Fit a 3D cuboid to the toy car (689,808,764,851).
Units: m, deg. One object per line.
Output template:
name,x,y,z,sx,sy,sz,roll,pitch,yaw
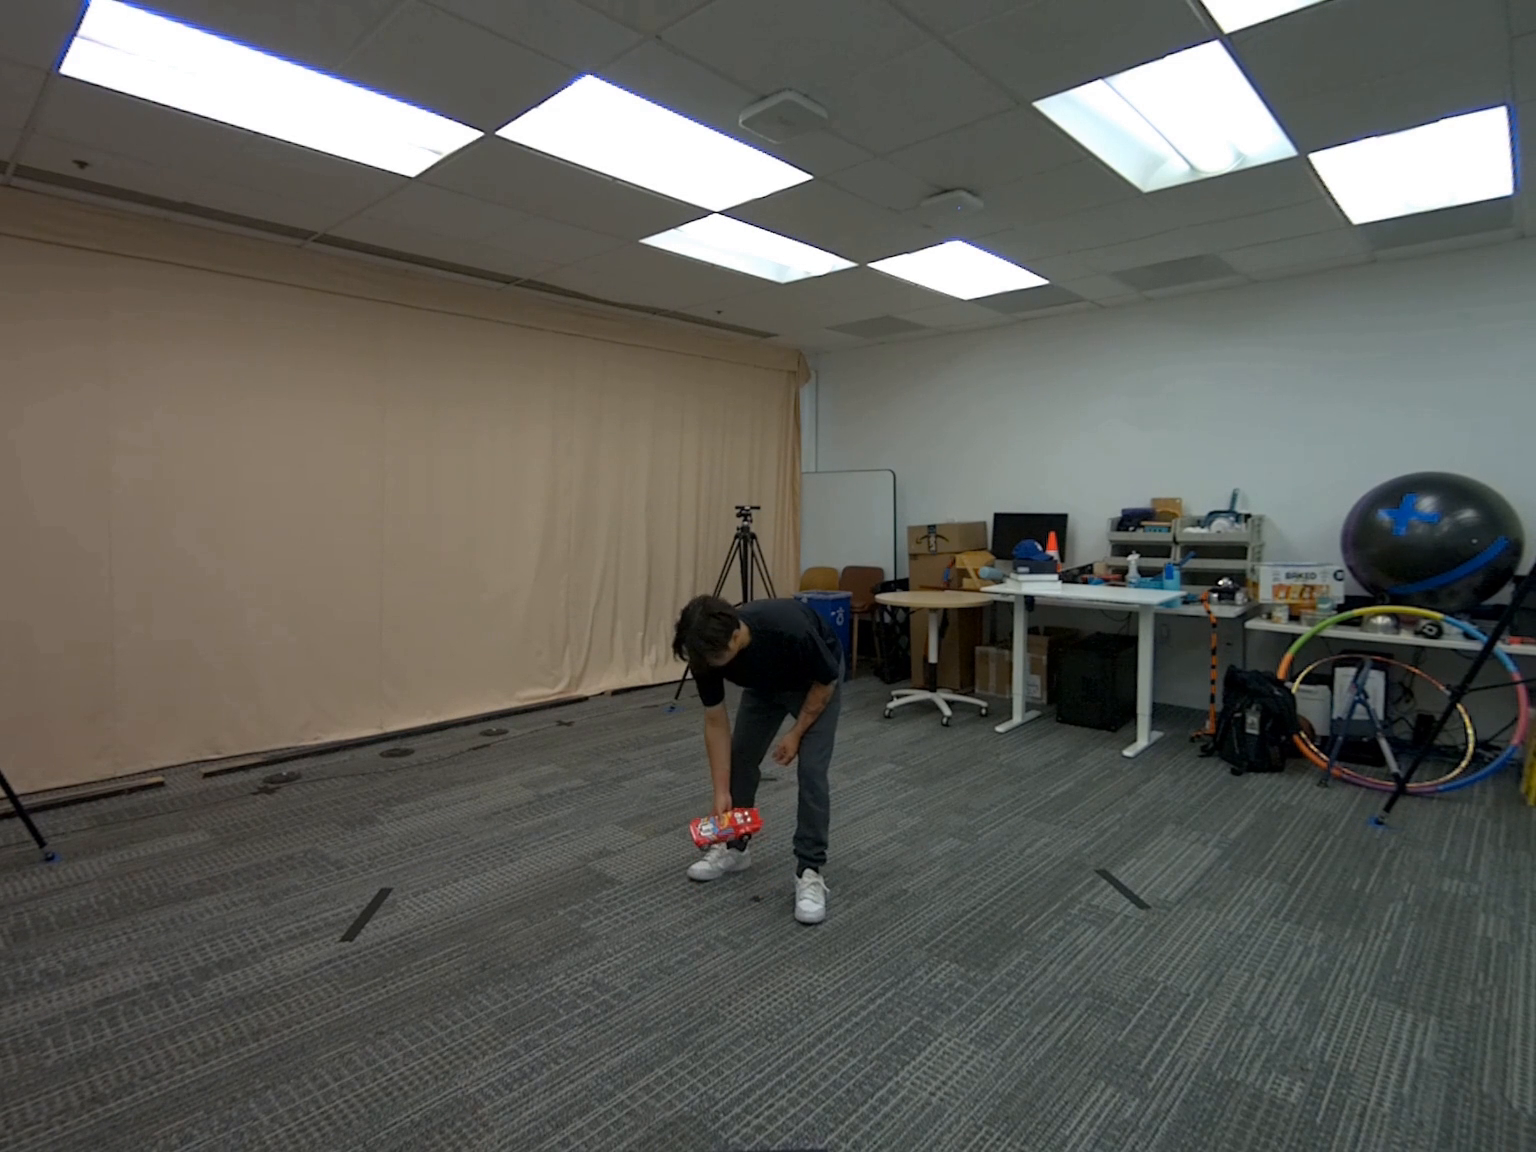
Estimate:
toy car,-0.134,0.884,2.941,0.252,0.081,0.134,-14,31,-9
